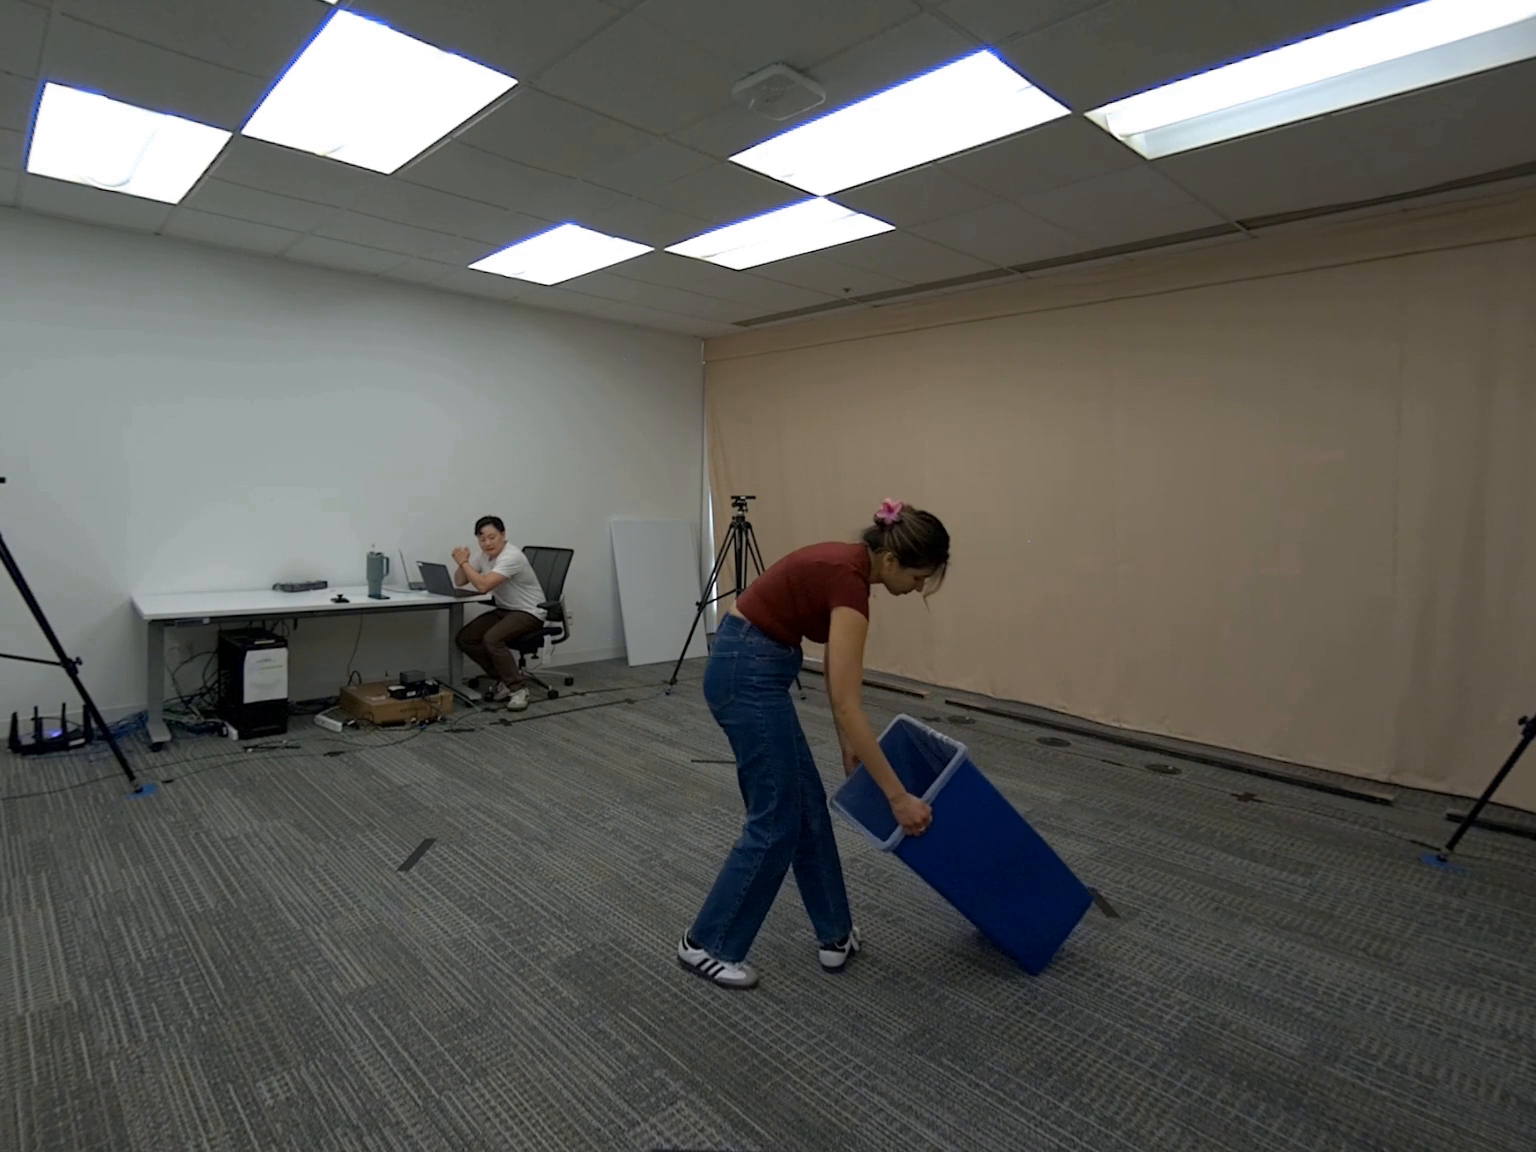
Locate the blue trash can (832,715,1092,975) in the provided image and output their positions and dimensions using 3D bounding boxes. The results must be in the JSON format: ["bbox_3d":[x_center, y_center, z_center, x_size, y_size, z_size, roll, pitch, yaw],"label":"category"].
[{"bbox_3d":[0.587,0.825,2.538,0.702,0.374,0.384,46,-11,-16],"label":"blue trash can"}]
